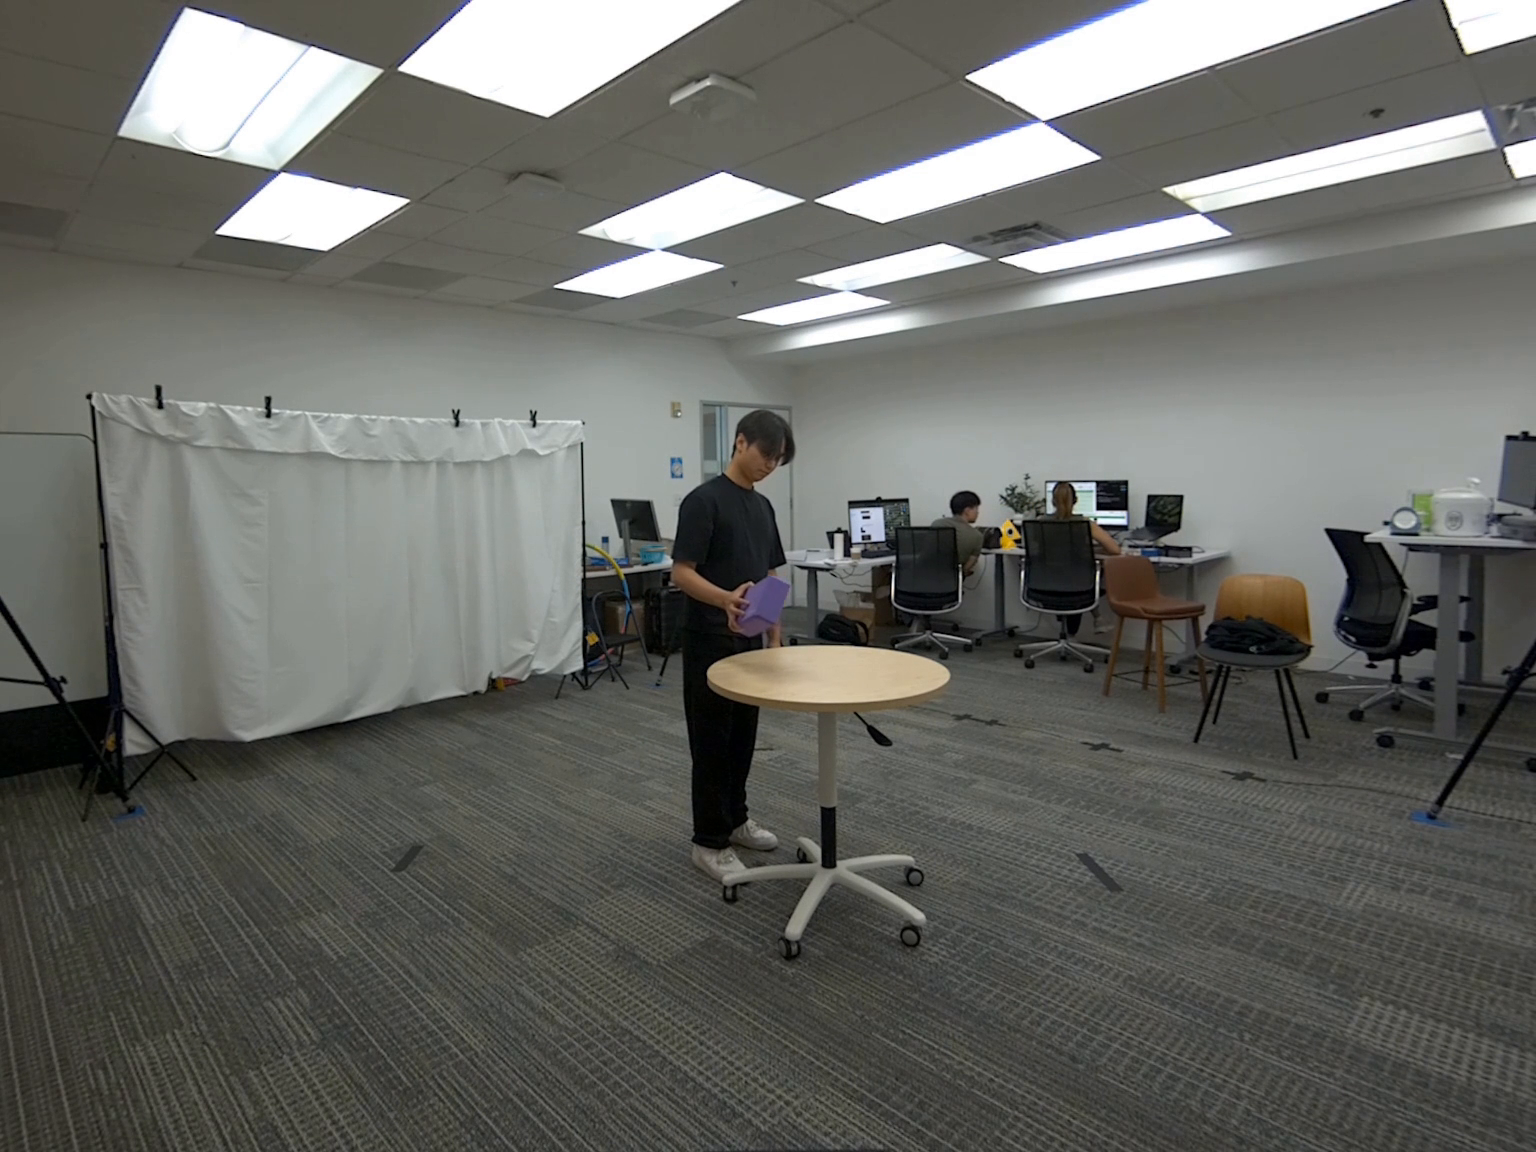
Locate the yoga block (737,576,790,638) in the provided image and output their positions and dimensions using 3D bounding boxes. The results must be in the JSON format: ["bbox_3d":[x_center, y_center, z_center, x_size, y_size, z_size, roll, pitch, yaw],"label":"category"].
[{"bbox_3d":[-0.014,0.105,2.691,0.076,0.151,0.228,20,-21,-8],"label":"yoga block"}]
